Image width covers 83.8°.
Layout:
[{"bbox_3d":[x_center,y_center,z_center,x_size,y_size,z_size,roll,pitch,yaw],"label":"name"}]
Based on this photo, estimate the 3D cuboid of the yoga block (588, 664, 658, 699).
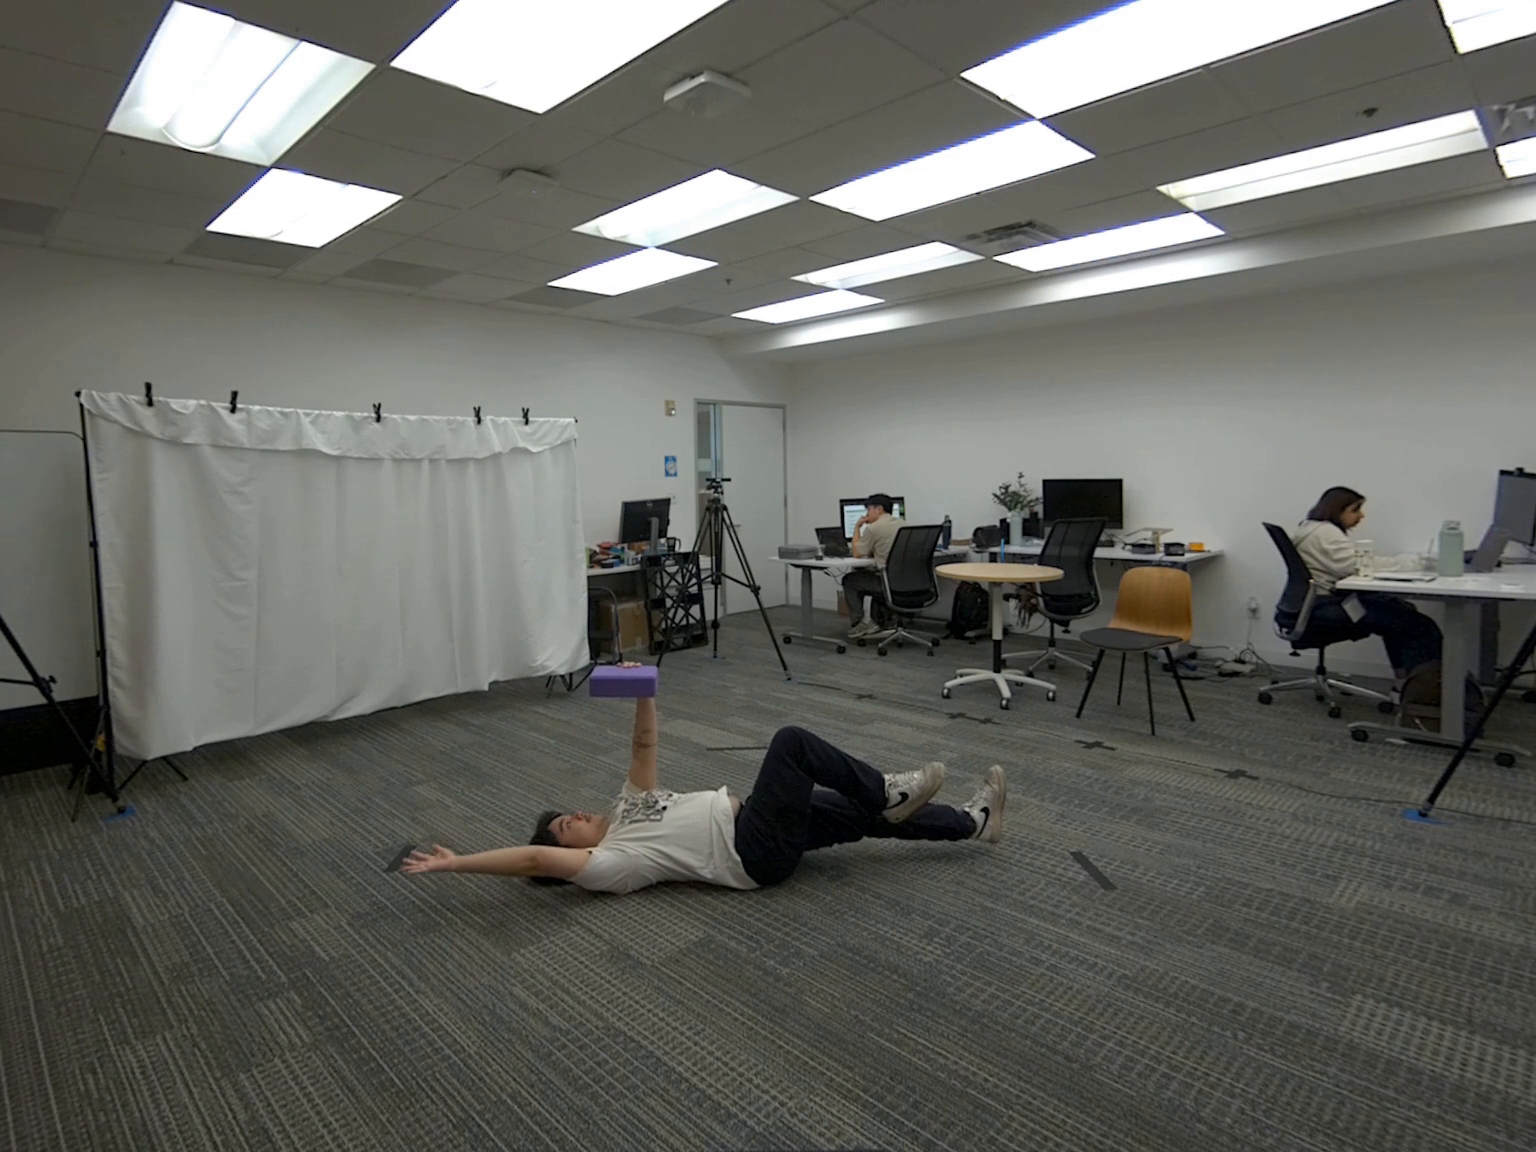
[{"bbox_3d":[-0.510,0.369,3.007,0.229,0.076,0.150,2,8,-1],"label":"yoga block"}]
